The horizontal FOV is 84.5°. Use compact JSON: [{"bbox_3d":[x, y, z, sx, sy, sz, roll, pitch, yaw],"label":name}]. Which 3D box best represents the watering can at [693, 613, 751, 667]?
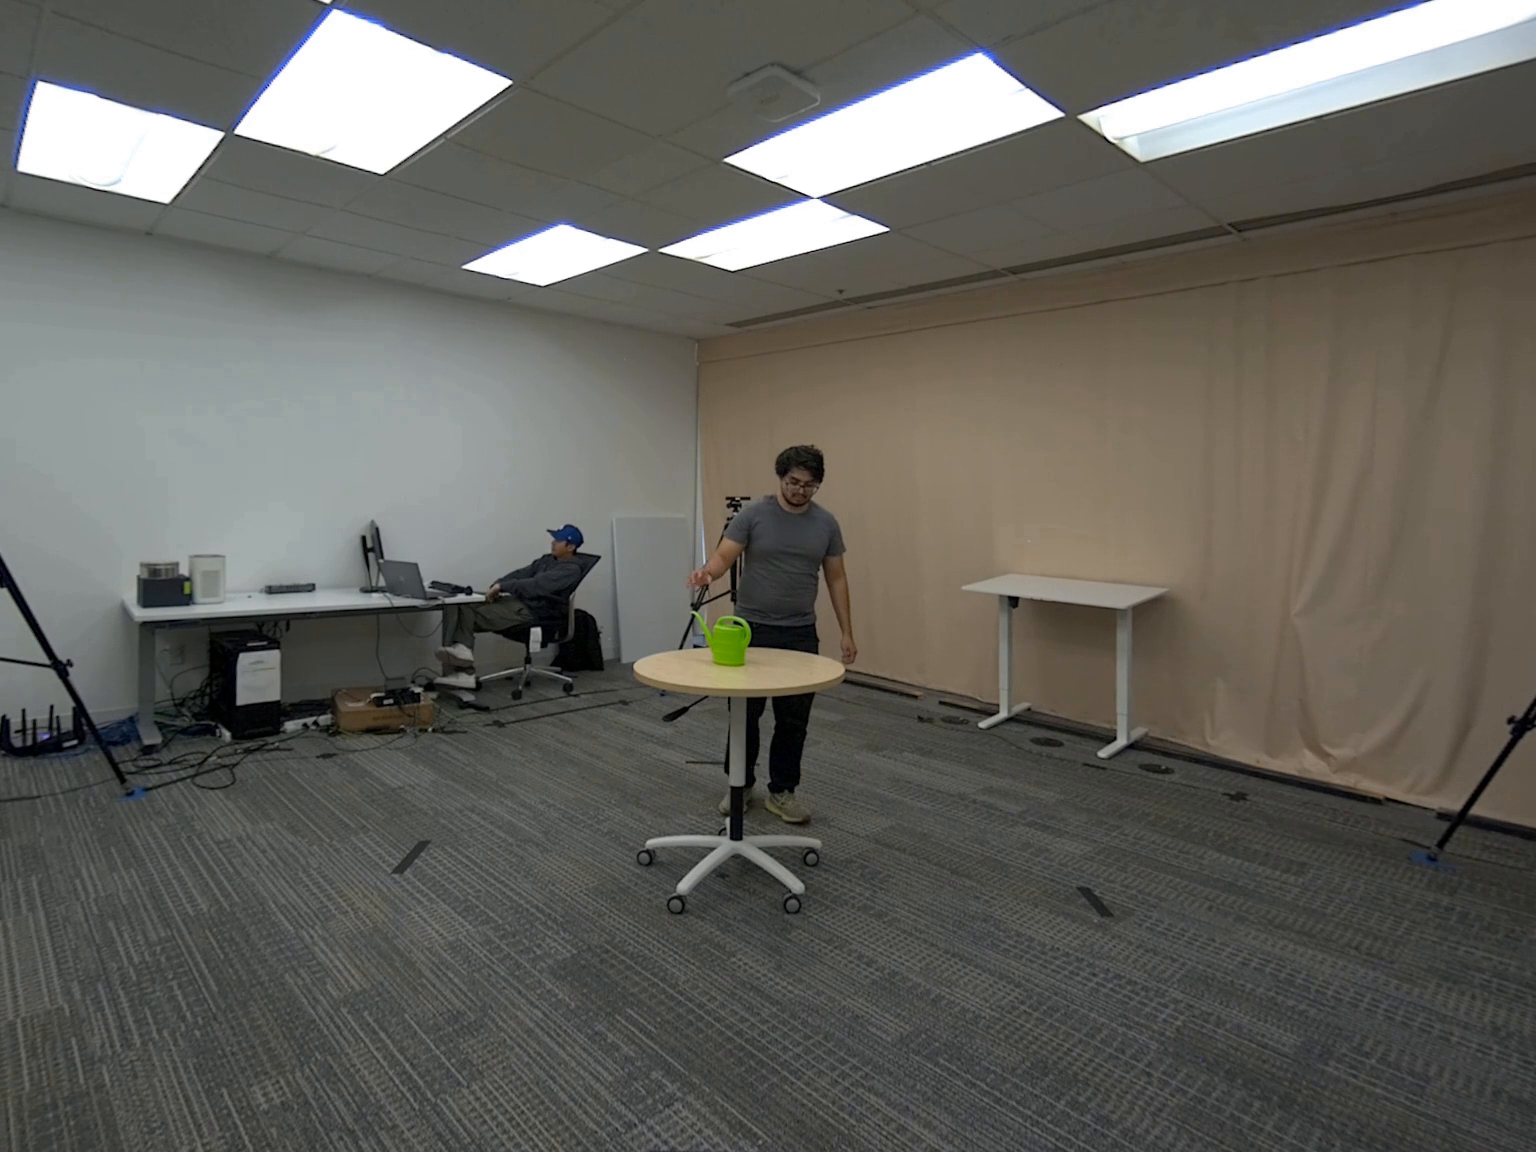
[{"bbox_3d":[-0.183,0.231,3.133,0.096,0.176,0.285,-4,9,-40],"label":"watering can"}]
